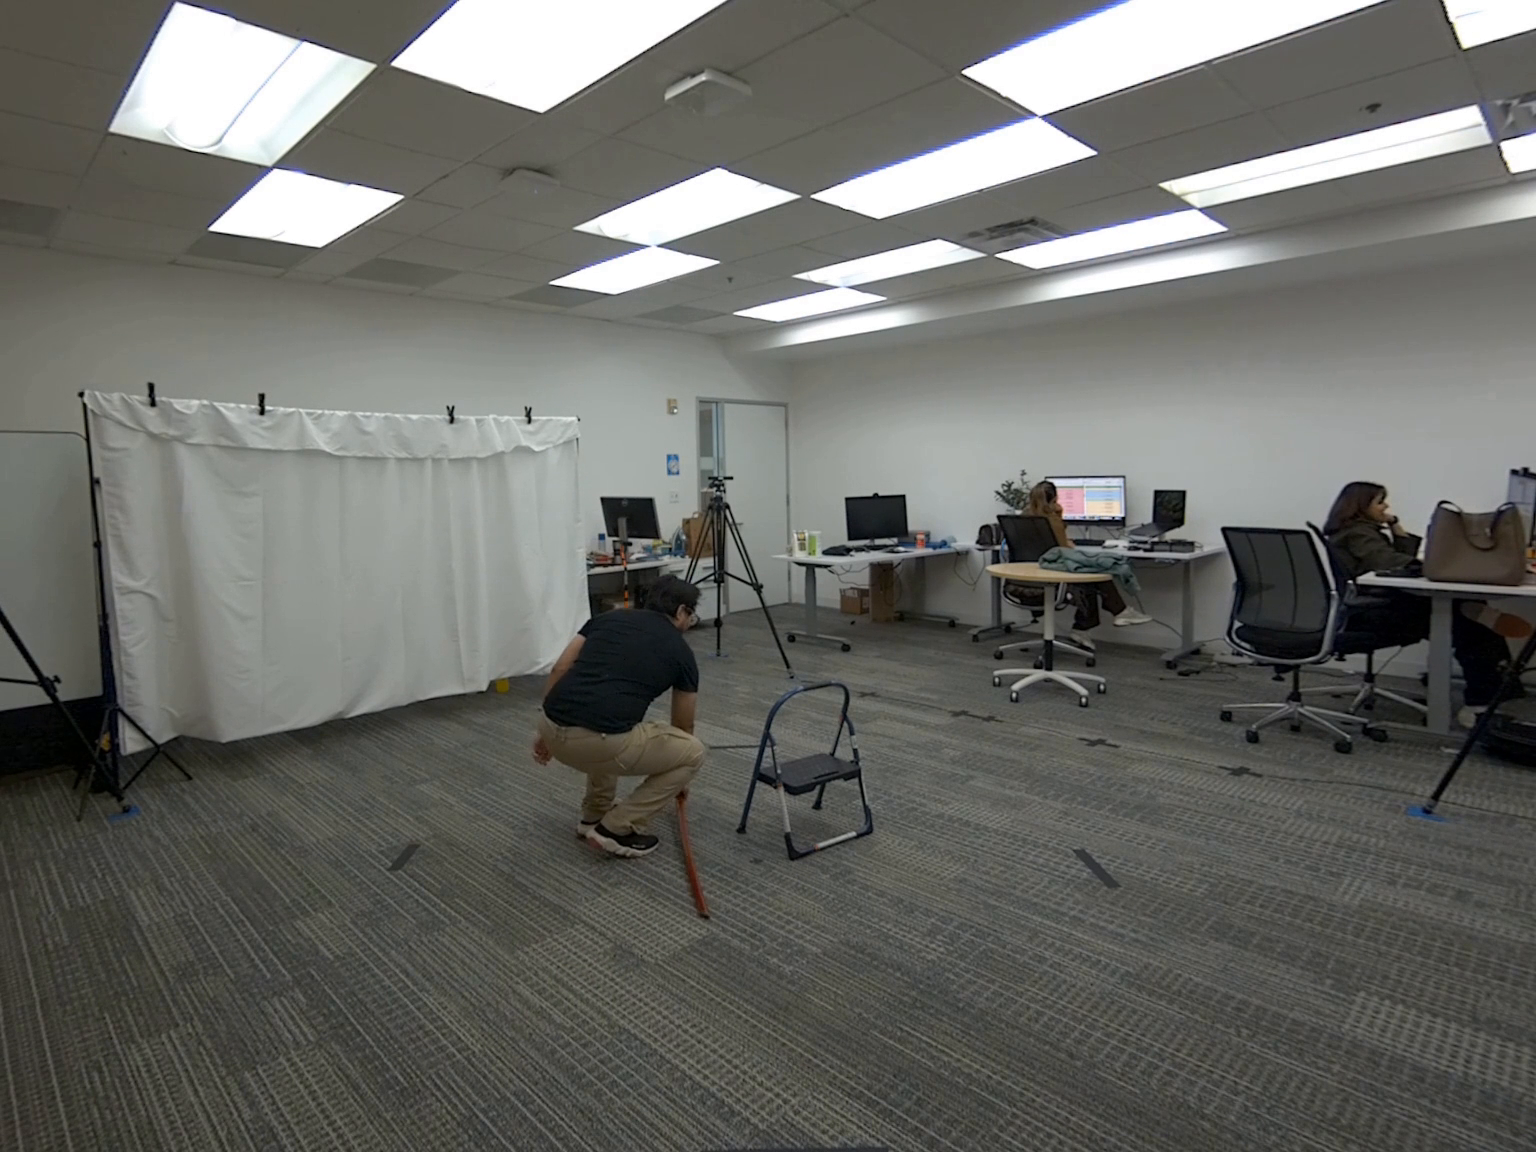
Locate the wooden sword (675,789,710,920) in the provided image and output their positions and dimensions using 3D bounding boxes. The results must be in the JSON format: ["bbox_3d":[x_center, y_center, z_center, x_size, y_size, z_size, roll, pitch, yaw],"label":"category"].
[{"bbox_3d":[-0.303,0.984,3.204,0.024,0.051,1.042,38,1,-15],"label":"wooden sword"}]
